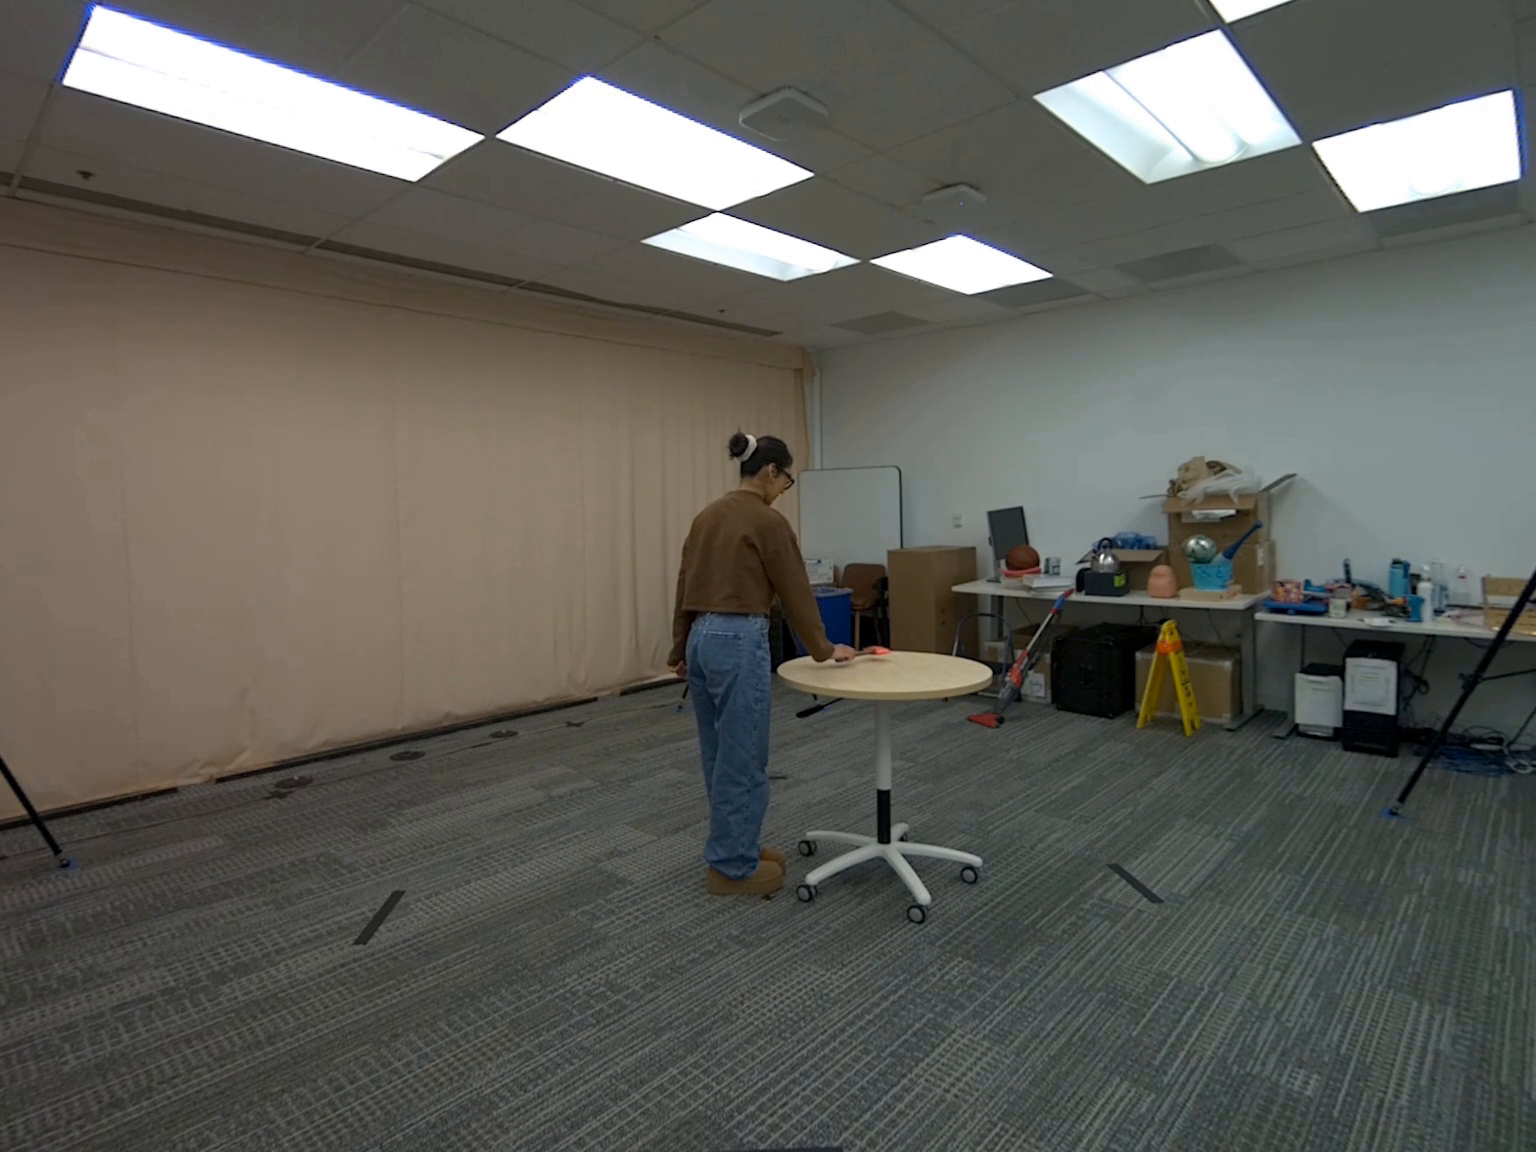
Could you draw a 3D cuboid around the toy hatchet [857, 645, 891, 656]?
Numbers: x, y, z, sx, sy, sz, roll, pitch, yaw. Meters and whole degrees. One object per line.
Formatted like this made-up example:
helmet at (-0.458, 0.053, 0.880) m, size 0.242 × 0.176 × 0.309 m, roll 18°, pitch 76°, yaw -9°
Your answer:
toy hatchet at (0.338, 0.304, 3.217) m, size 0.264 × 0.029 × 0.134 m, roll -7°, pitch 5°, yaw -24°
